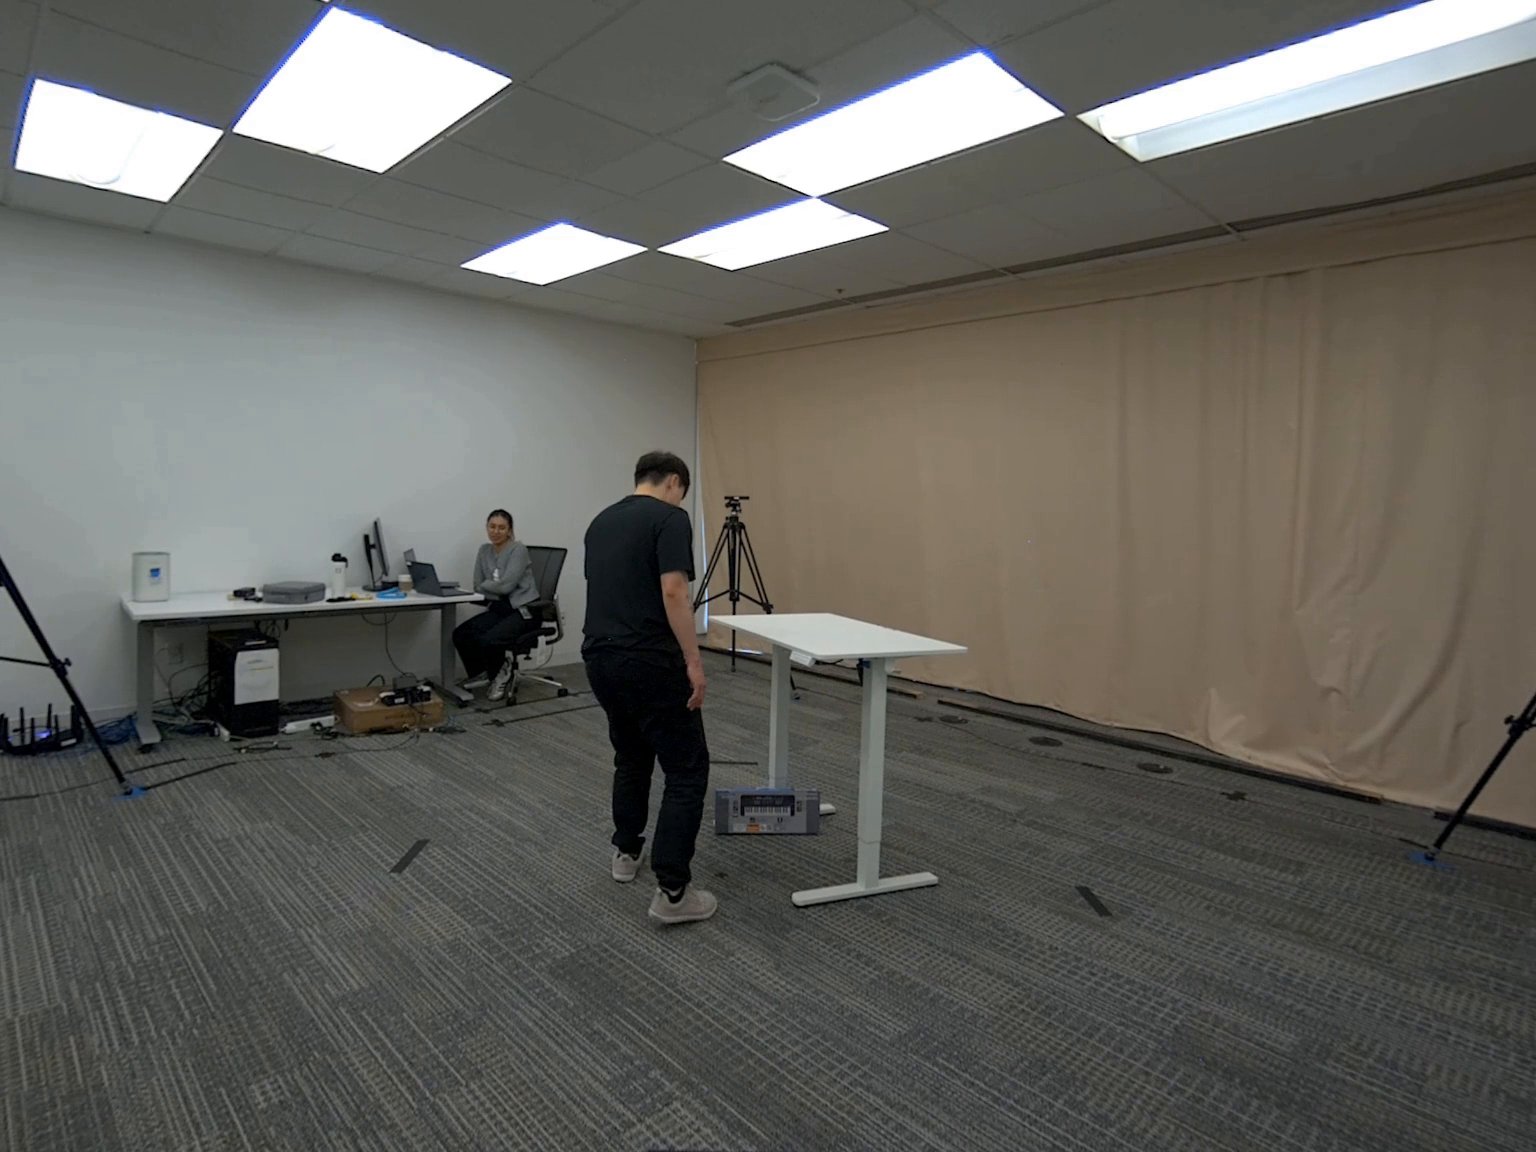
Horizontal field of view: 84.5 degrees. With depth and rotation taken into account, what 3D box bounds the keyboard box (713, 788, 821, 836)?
[{"bbox_3d":[-0.011,0.983,3.518,0.435,0.176,0.059,1,-5,-3],"label":"keyboard box"}]
